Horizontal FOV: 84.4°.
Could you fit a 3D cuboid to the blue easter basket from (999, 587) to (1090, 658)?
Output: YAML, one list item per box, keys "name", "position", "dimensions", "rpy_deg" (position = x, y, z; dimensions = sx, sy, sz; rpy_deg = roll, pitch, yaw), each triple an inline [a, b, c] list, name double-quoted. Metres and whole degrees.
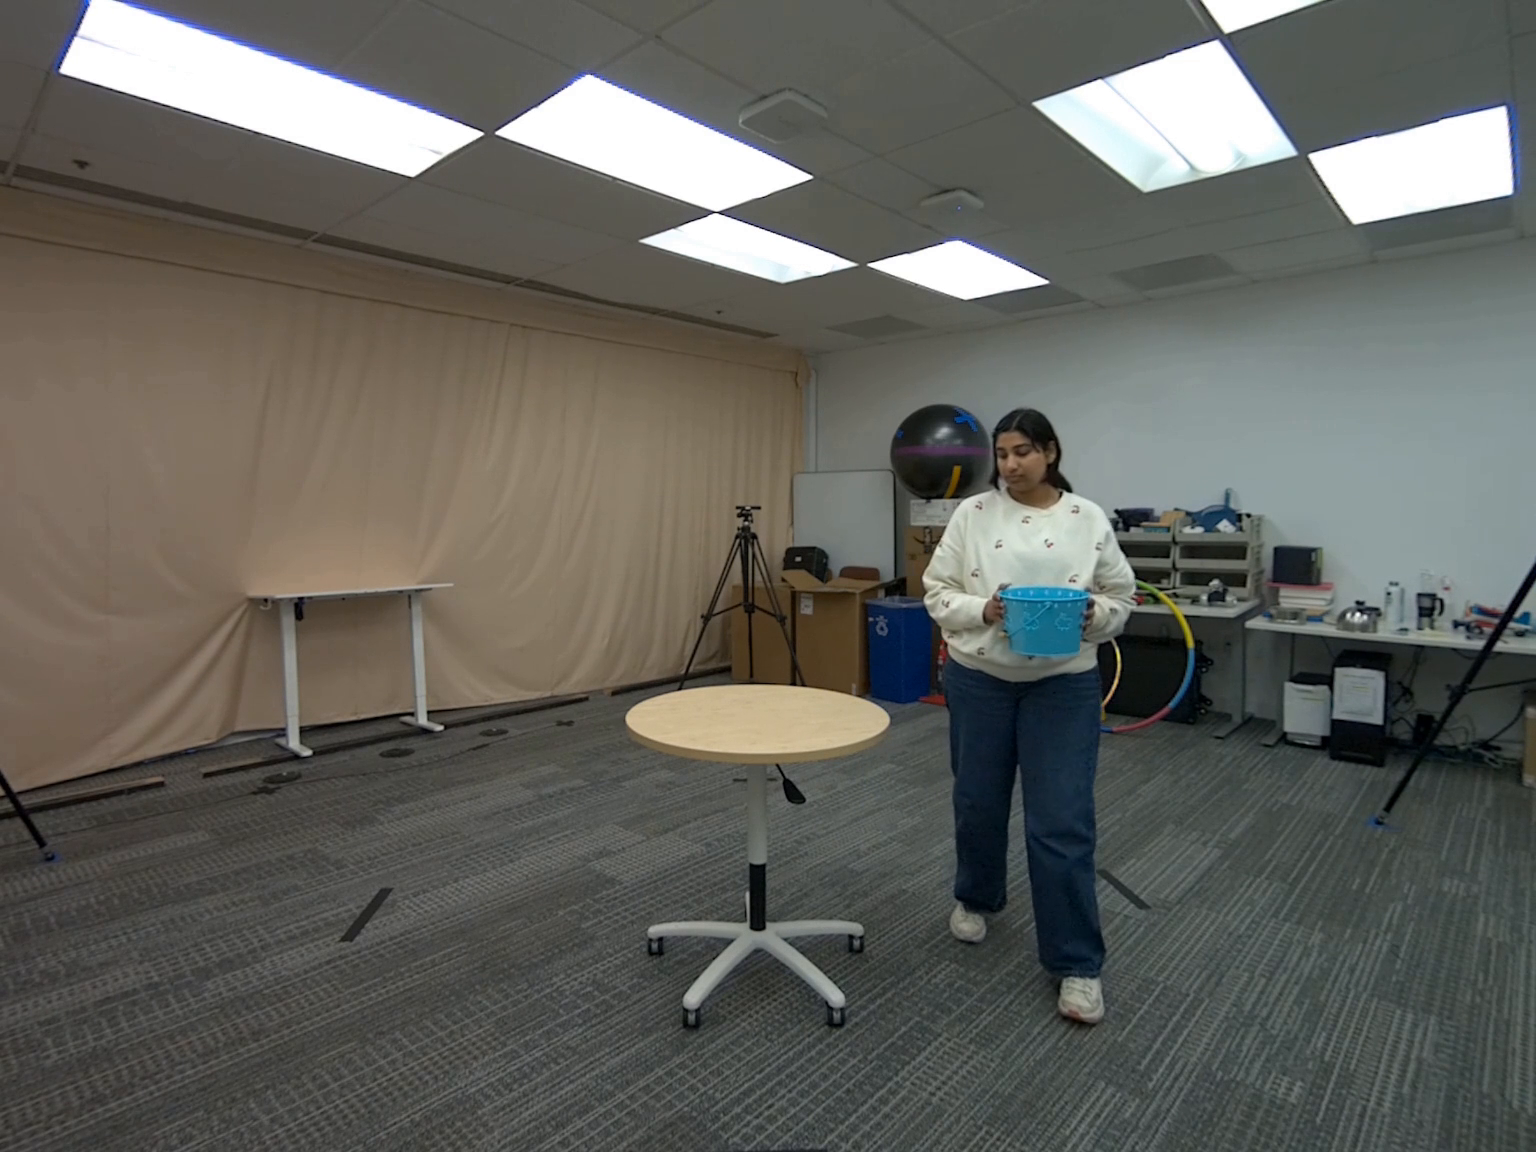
- name: "blue easter basket"
  position: [0.753, 0.126, 2.261]
  dimensions: [0.243, 0.155, 0.245]
  rpy_deg: [-1, 6, -2]
